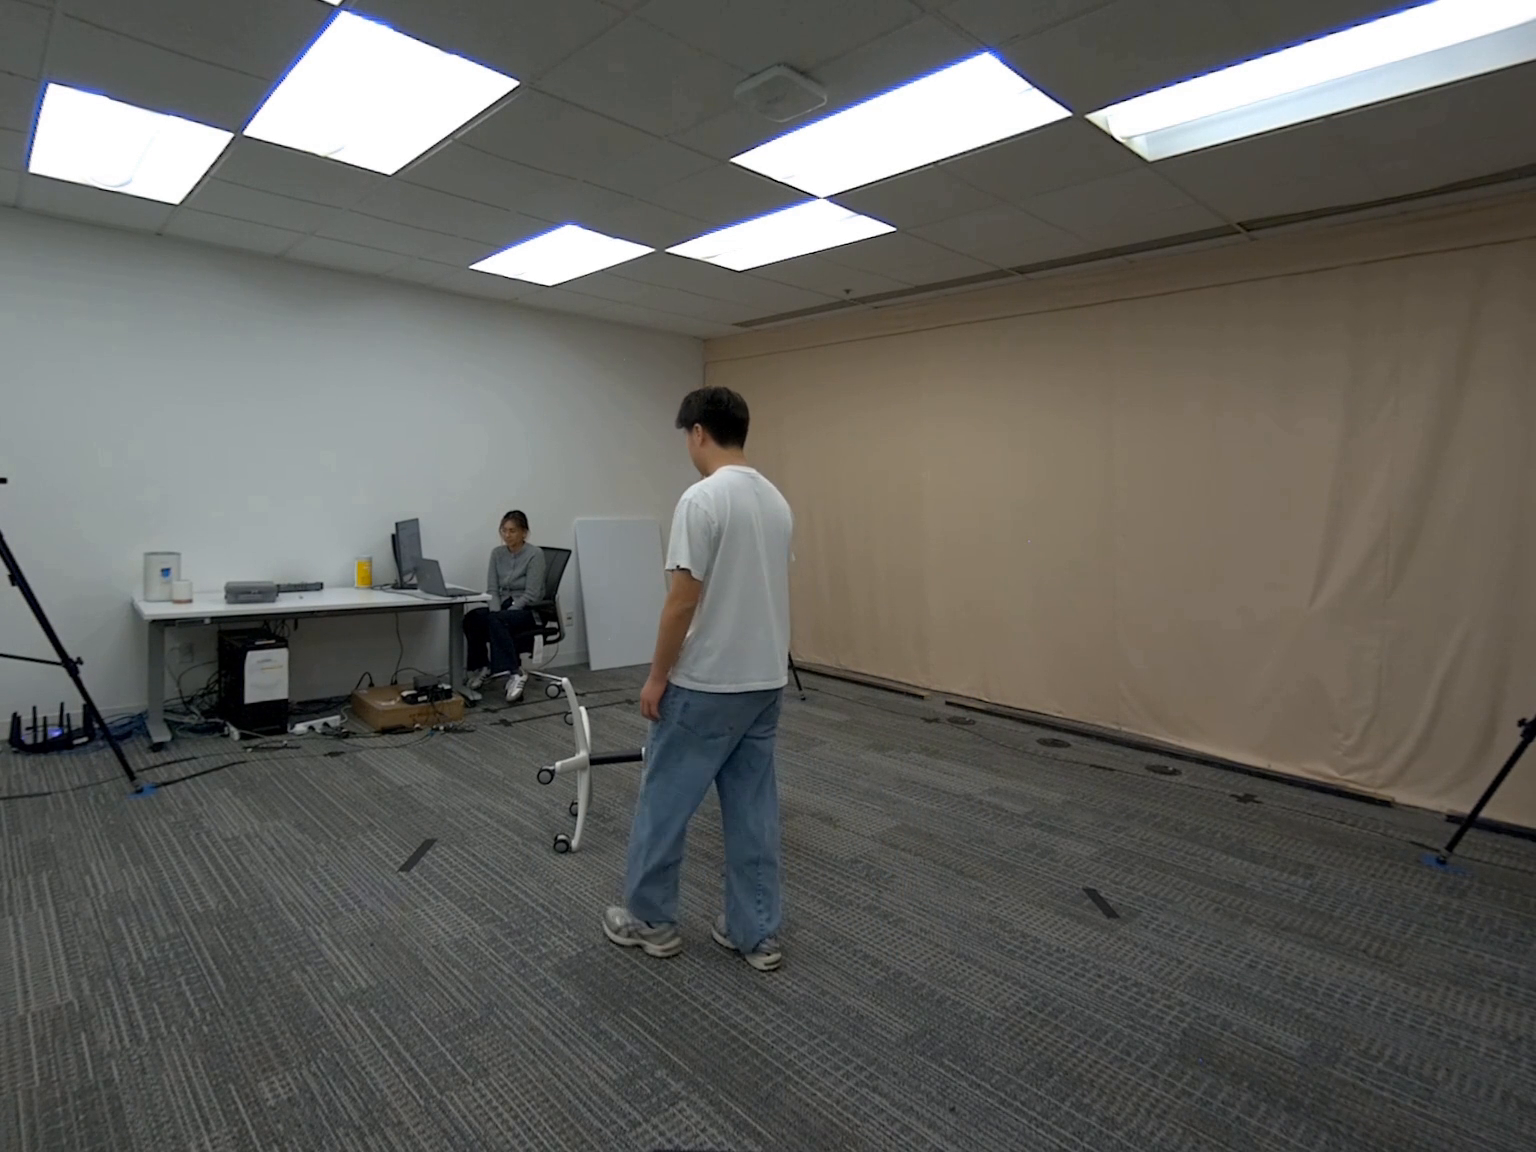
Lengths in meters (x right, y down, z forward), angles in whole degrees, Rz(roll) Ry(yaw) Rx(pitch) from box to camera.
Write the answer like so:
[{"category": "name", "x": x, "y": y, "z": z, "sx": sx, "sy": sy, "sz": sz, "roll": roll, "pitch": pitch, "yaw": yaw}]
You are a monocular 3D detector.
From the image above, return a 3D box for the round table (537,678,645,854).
[{"category": "round table", "x": -0.474, "y": 0.725, "z": 3.439, "sx": 0.784, "sy": 0.782, "sz": 0.790, "roll": -4, "pitch": 5, "yaw": -4}]
